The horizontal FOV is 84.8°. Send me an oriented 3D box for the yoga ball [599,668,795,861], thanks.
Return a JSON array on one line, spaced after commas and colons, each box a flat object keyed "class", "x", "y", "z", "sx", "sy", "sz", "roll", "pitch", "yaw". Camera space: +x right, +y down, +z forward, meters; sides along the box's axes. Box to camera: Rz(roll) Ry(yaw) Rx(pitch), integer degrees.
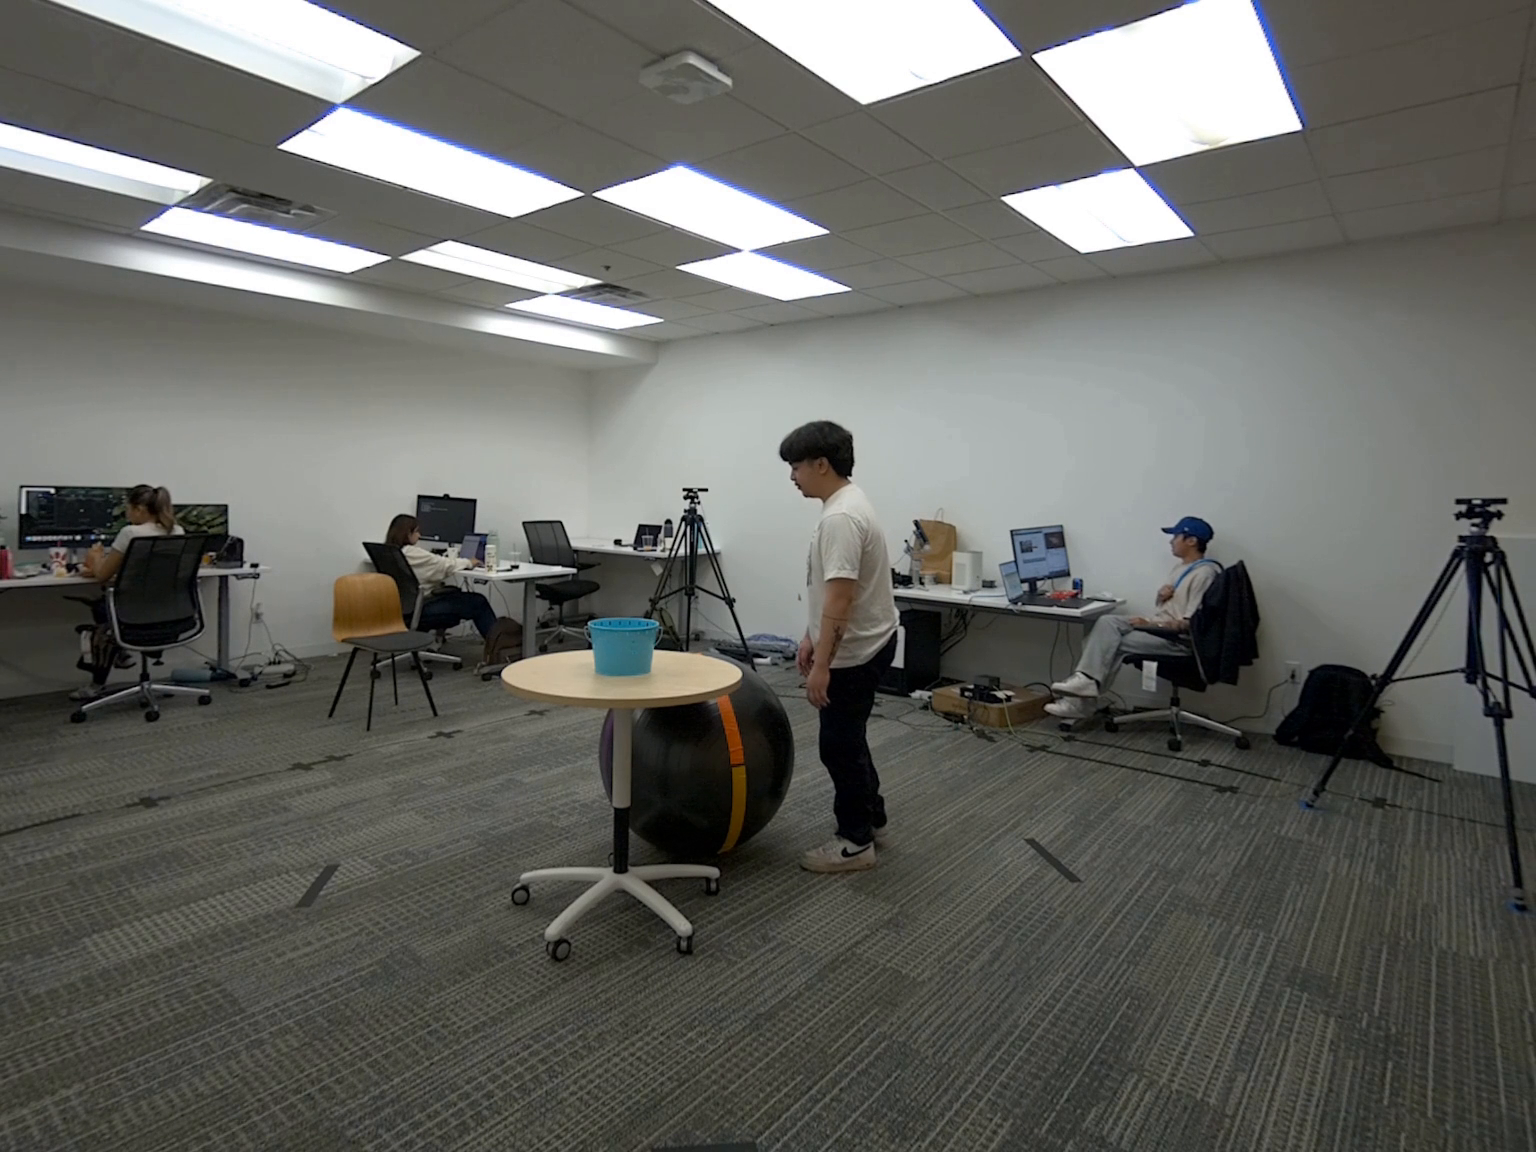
[{"class": "yoga ball", "x": -0.288, "y": 0.677, "z": 3.297, "sx": 0.757, "sy": 0.756, "sz": 0.761, "roll": 1, "pitch": 4, "yaw": -2}]
